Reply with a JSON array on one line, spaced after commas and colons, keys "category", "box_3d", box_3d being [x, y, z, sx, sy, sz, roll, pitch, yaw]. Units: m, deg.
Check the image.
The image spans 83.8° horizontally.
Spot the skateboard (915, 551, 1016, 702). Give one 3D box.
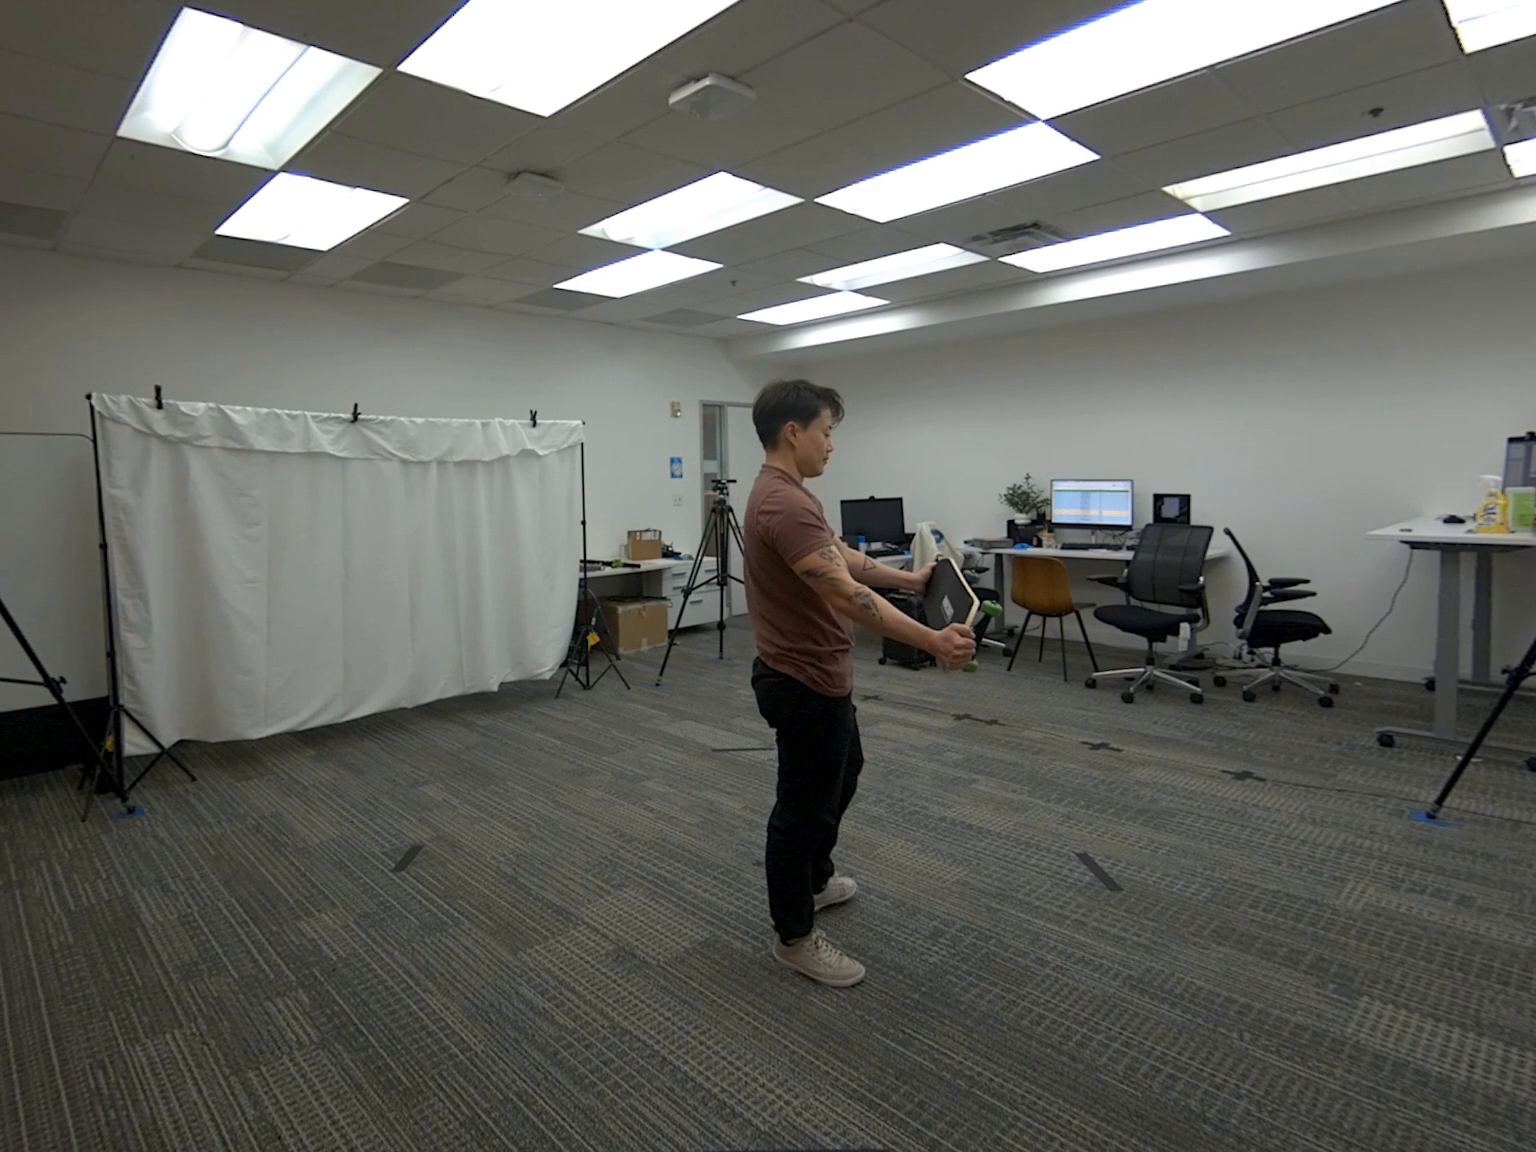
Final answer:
[{"category": "skateboard", "box_3d": [0.513, 0.105, 2.332, 0.111, 0.192, 0.786, 22, 12, 2]}]
